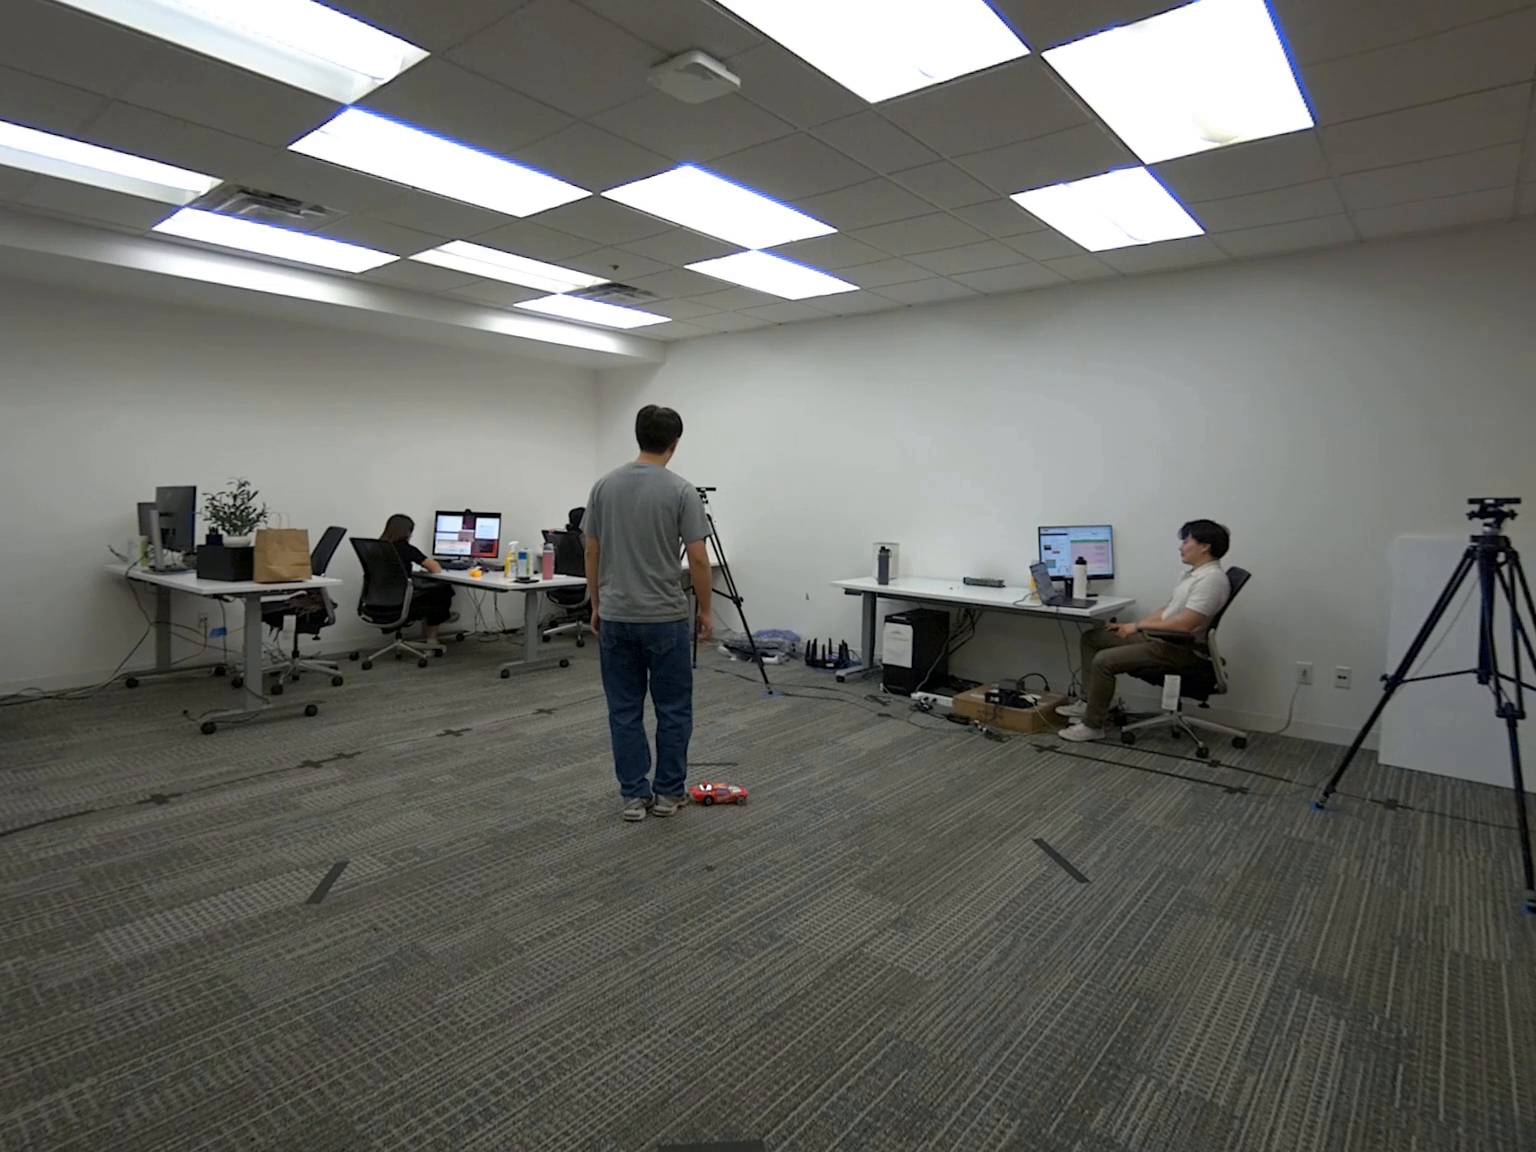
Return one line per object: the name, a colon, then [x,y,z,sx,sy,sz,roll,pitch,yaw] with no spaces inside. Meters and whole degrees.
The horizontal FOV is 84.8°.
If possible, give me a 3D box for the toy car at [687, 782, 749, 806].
toy car: [-0.232,0.974,3.783,0.253,0.083,0.131,11,4,-7]
